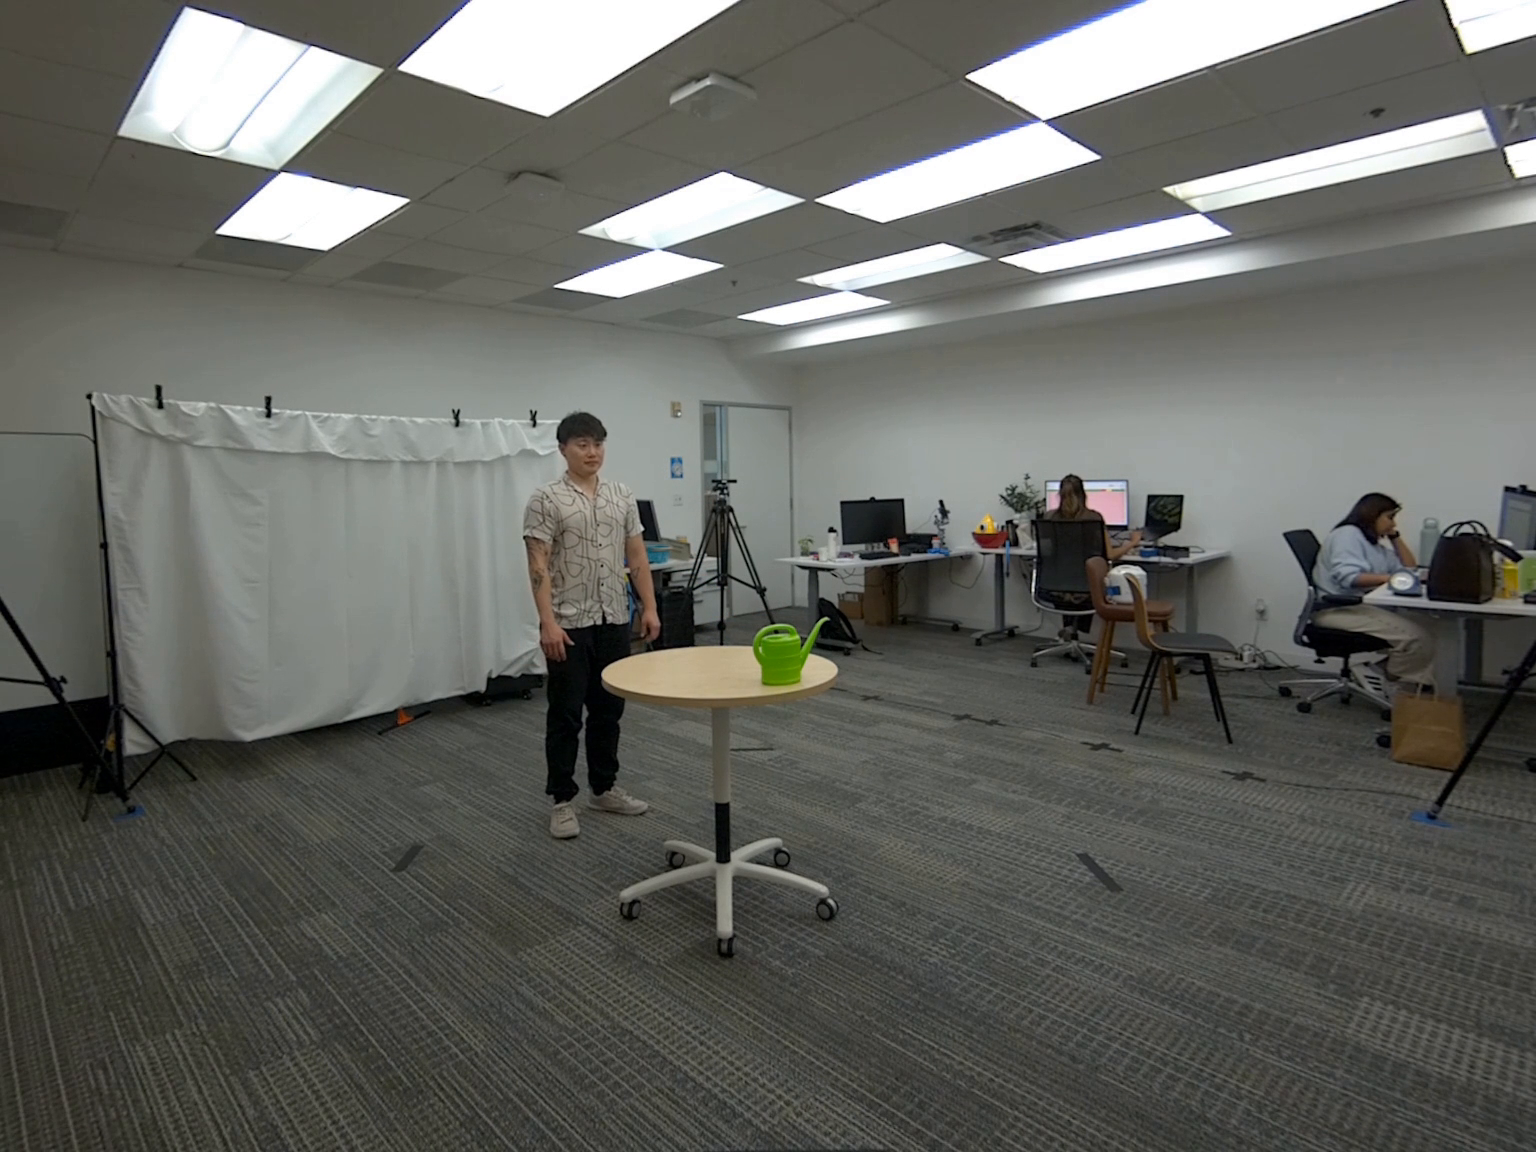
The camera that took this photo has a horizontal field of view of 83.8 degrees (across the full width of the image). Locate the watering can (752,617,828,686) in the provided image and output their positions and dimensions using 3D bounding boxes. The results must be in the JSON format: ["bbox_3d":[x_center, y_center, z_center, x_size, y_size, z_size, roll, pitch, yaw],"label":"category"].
[{"bbox_3d":[0.090,0.228,2.603,0.274,0.177,0.099,-6,1,-16],"label":"watering can"}]
